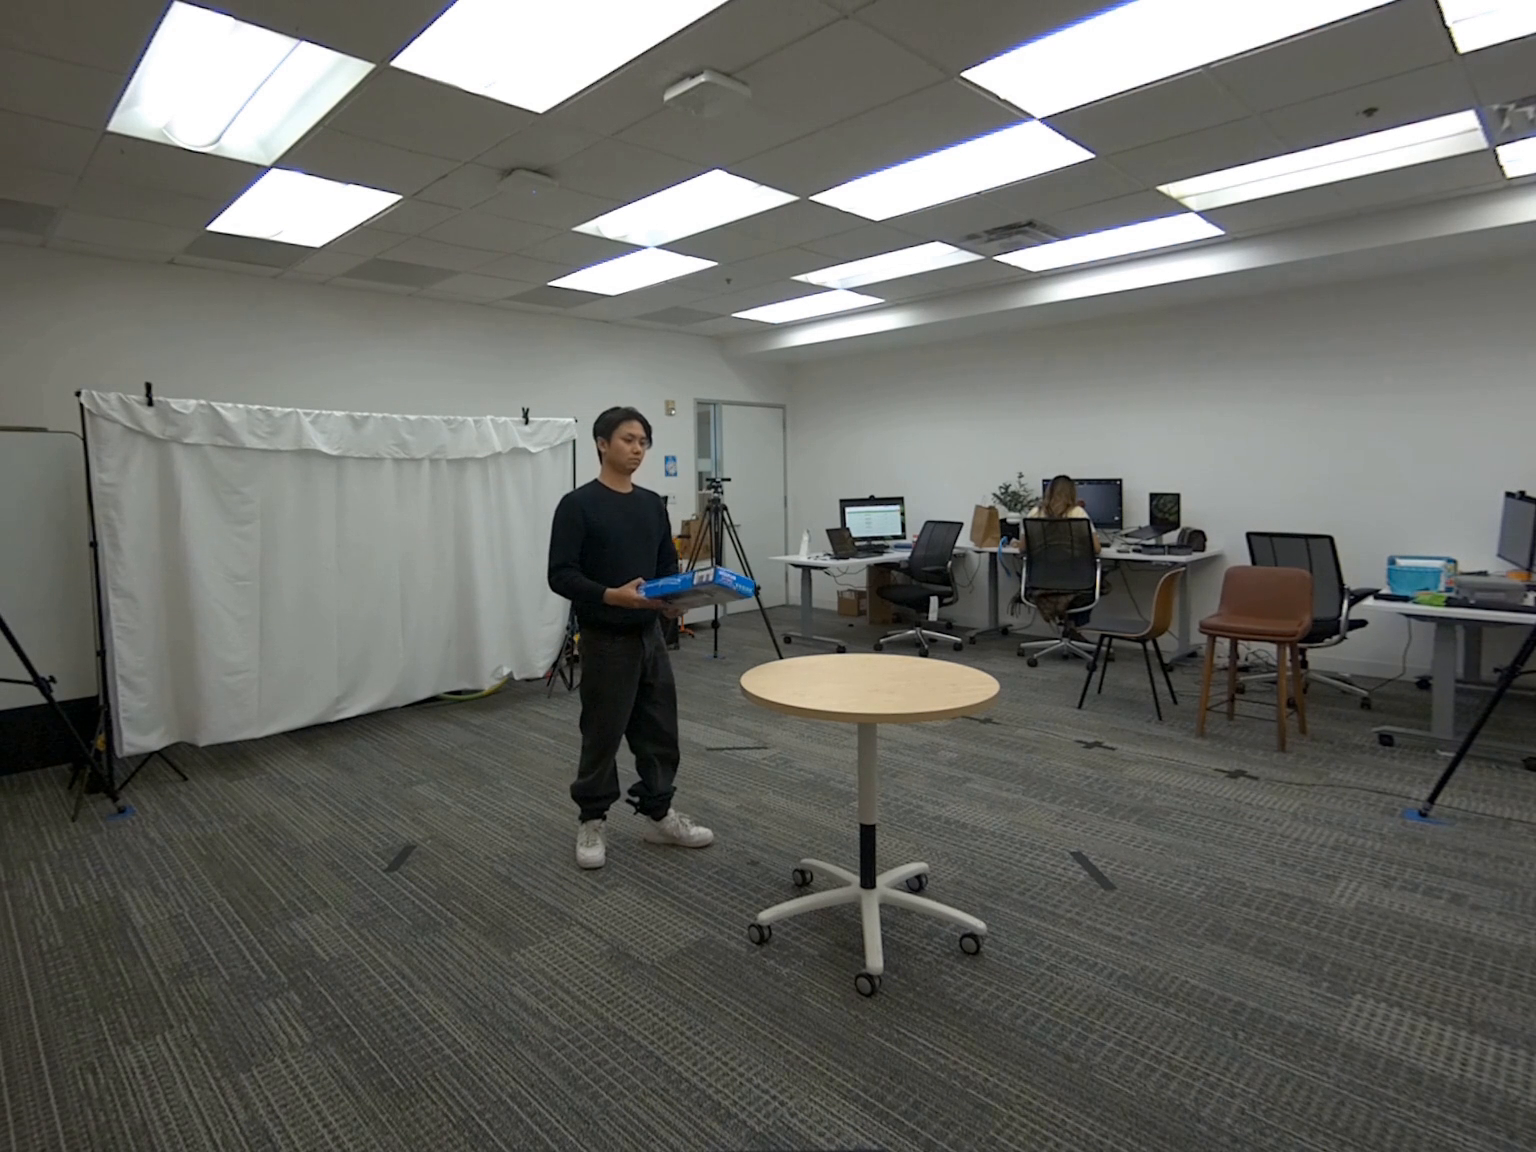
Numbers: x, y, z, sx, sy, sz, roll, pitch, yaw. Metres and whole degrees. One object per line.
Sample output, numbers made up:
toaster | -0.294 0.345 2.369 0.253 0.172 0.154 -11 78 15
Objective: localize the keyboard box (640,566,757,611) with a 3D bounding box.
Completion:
keyboard box | -0.246 0.055 2.839 0.170 0.060 0.446 23 -24 -38
